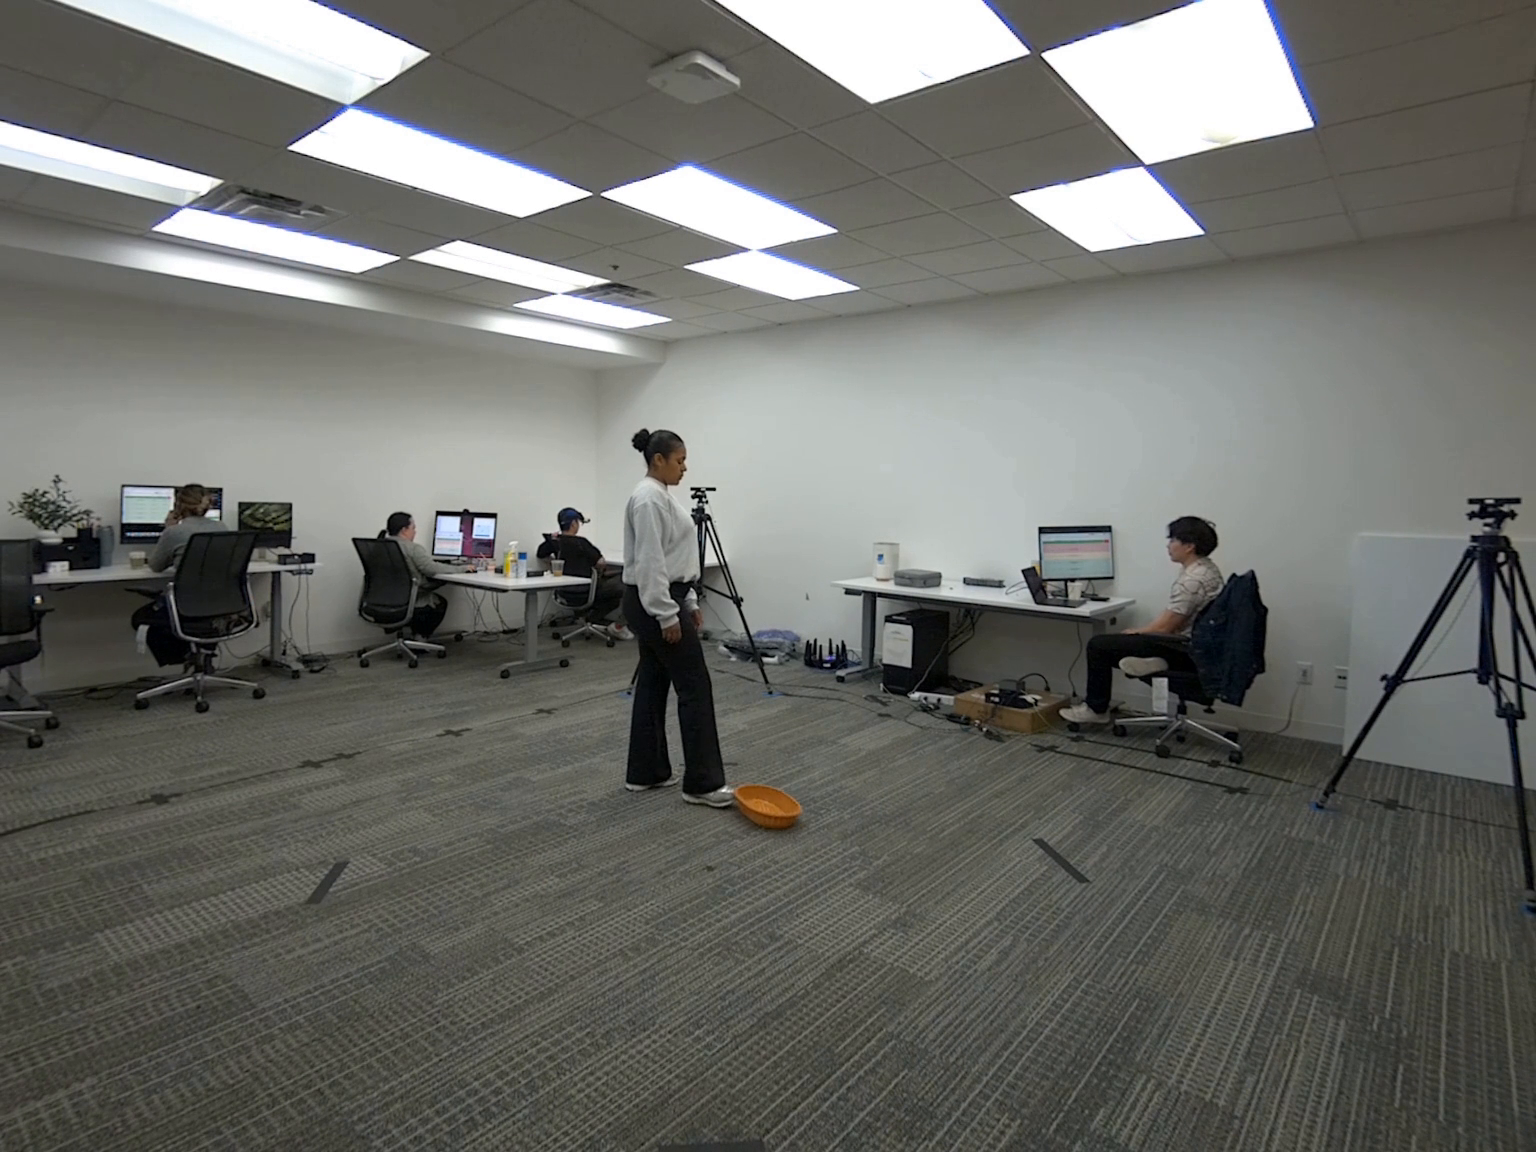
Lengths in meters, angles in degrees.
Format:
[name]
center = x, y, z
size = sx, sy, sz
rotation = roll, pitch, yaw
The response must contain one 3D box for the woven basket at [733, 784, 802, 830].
[woven basket]
center = -0.025, 0.974, 3.606
size = 0.246, 0.073, 0.360
rotation = 3, 7, -24
